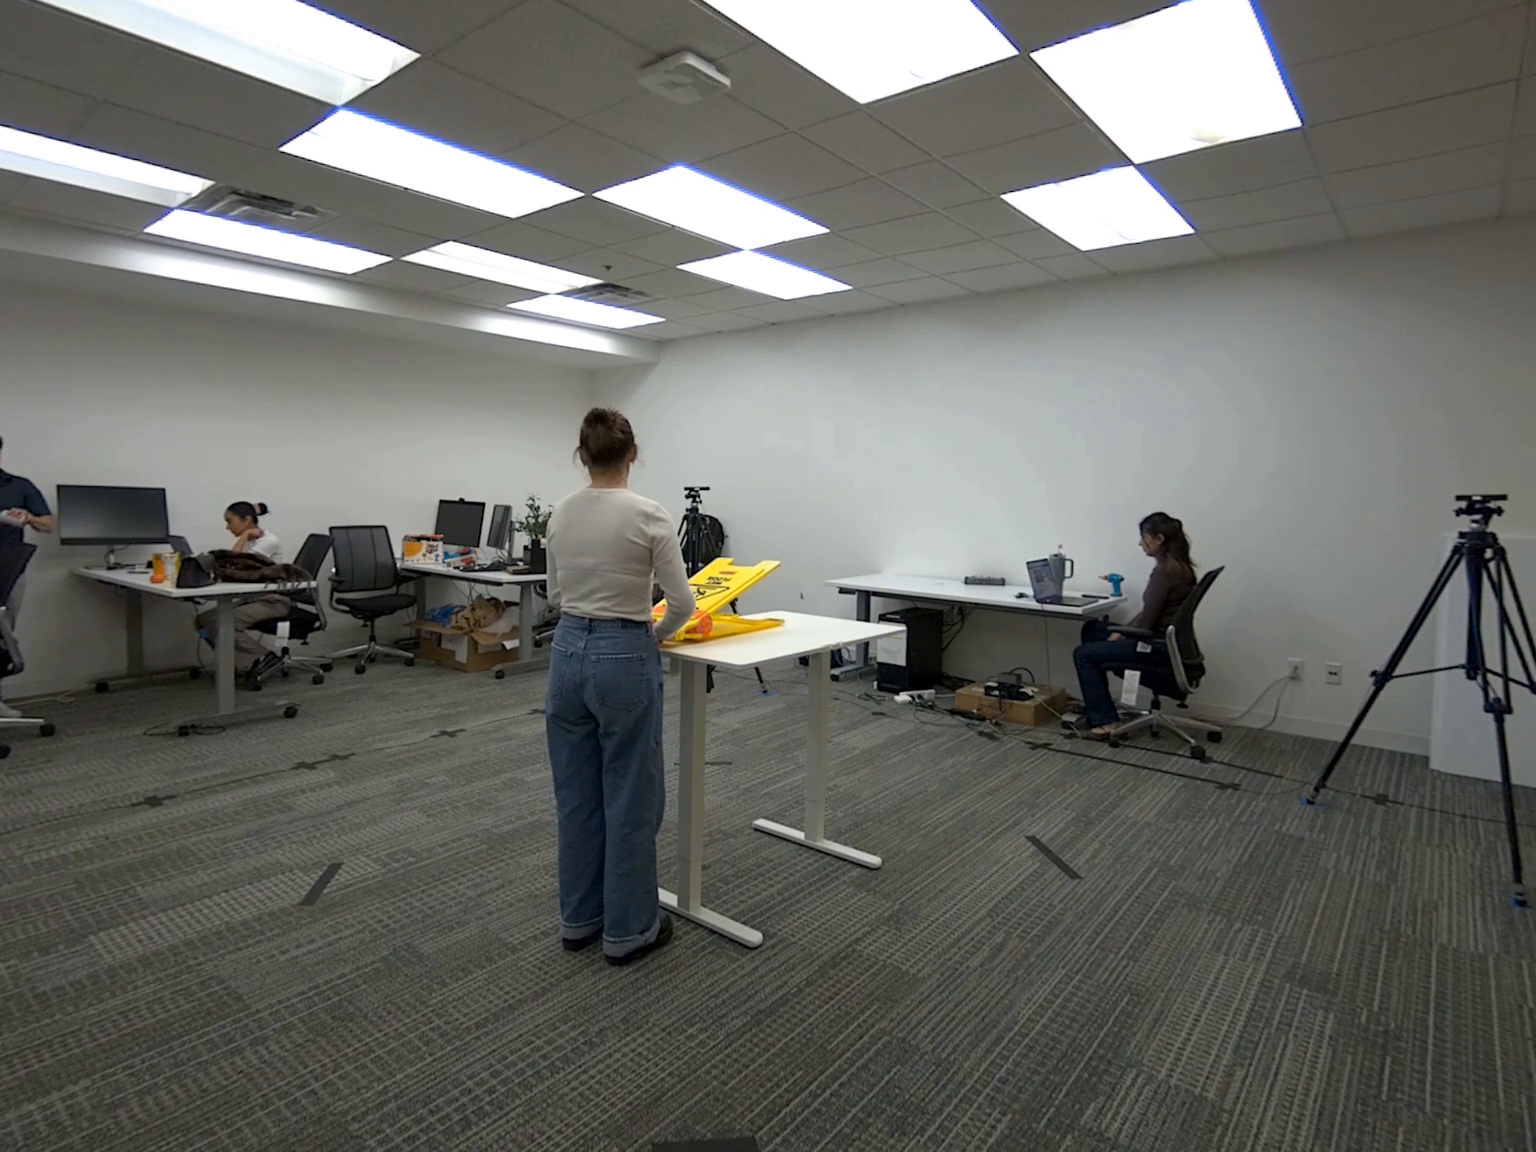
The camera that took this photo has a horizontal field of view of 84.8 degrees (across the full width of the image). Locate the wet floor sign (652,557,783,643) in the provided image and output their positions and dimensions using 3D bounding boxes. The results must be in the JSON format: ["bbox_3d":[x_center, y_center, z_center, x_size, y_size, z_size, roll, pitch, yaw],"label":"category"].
[{"bbox_3d":[-0.223,0.130,2.974,0.290,0.286,0.634,3,13,30],"label":"wet floor sign"}]
